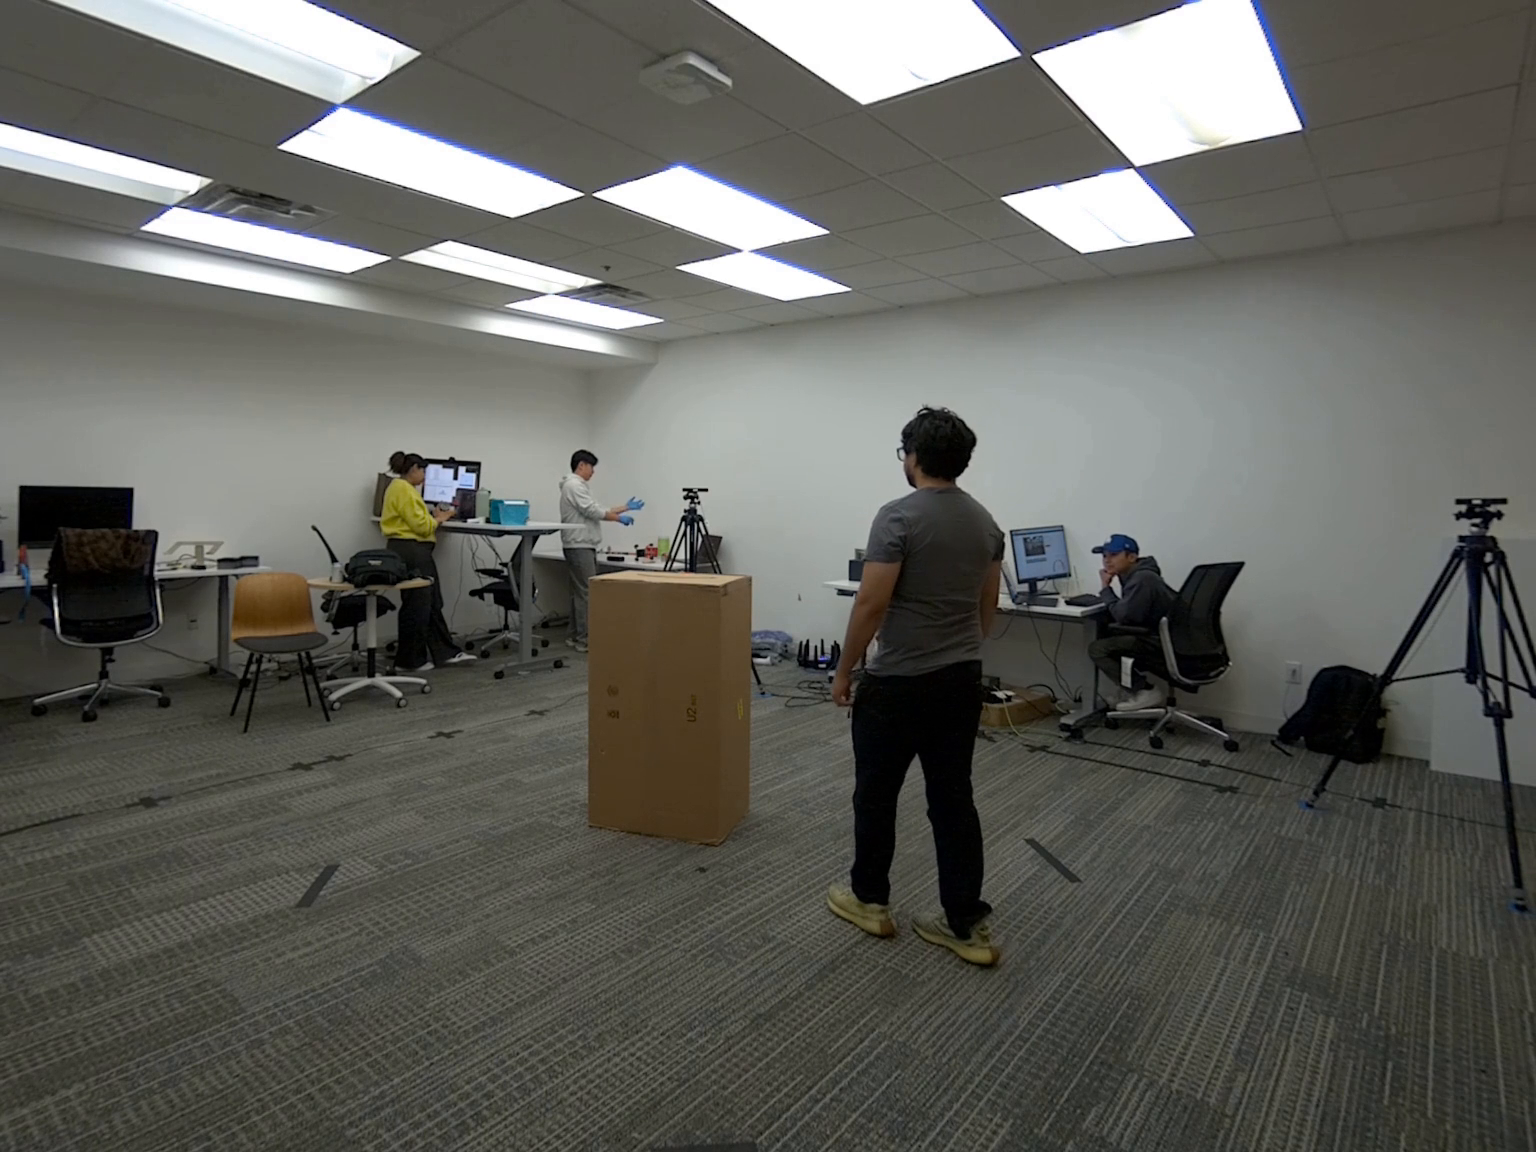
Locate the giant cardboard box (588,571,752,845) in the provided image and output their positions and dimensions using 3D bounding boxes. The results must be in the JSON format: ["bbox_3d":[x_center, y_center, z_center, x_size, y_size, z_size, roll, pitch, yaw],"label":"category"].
[{"bbox_3d":[-0.416,0.511,3.580,0.589,1.023,0.418,2,3,19],"label":"giant cardboard box"}]
